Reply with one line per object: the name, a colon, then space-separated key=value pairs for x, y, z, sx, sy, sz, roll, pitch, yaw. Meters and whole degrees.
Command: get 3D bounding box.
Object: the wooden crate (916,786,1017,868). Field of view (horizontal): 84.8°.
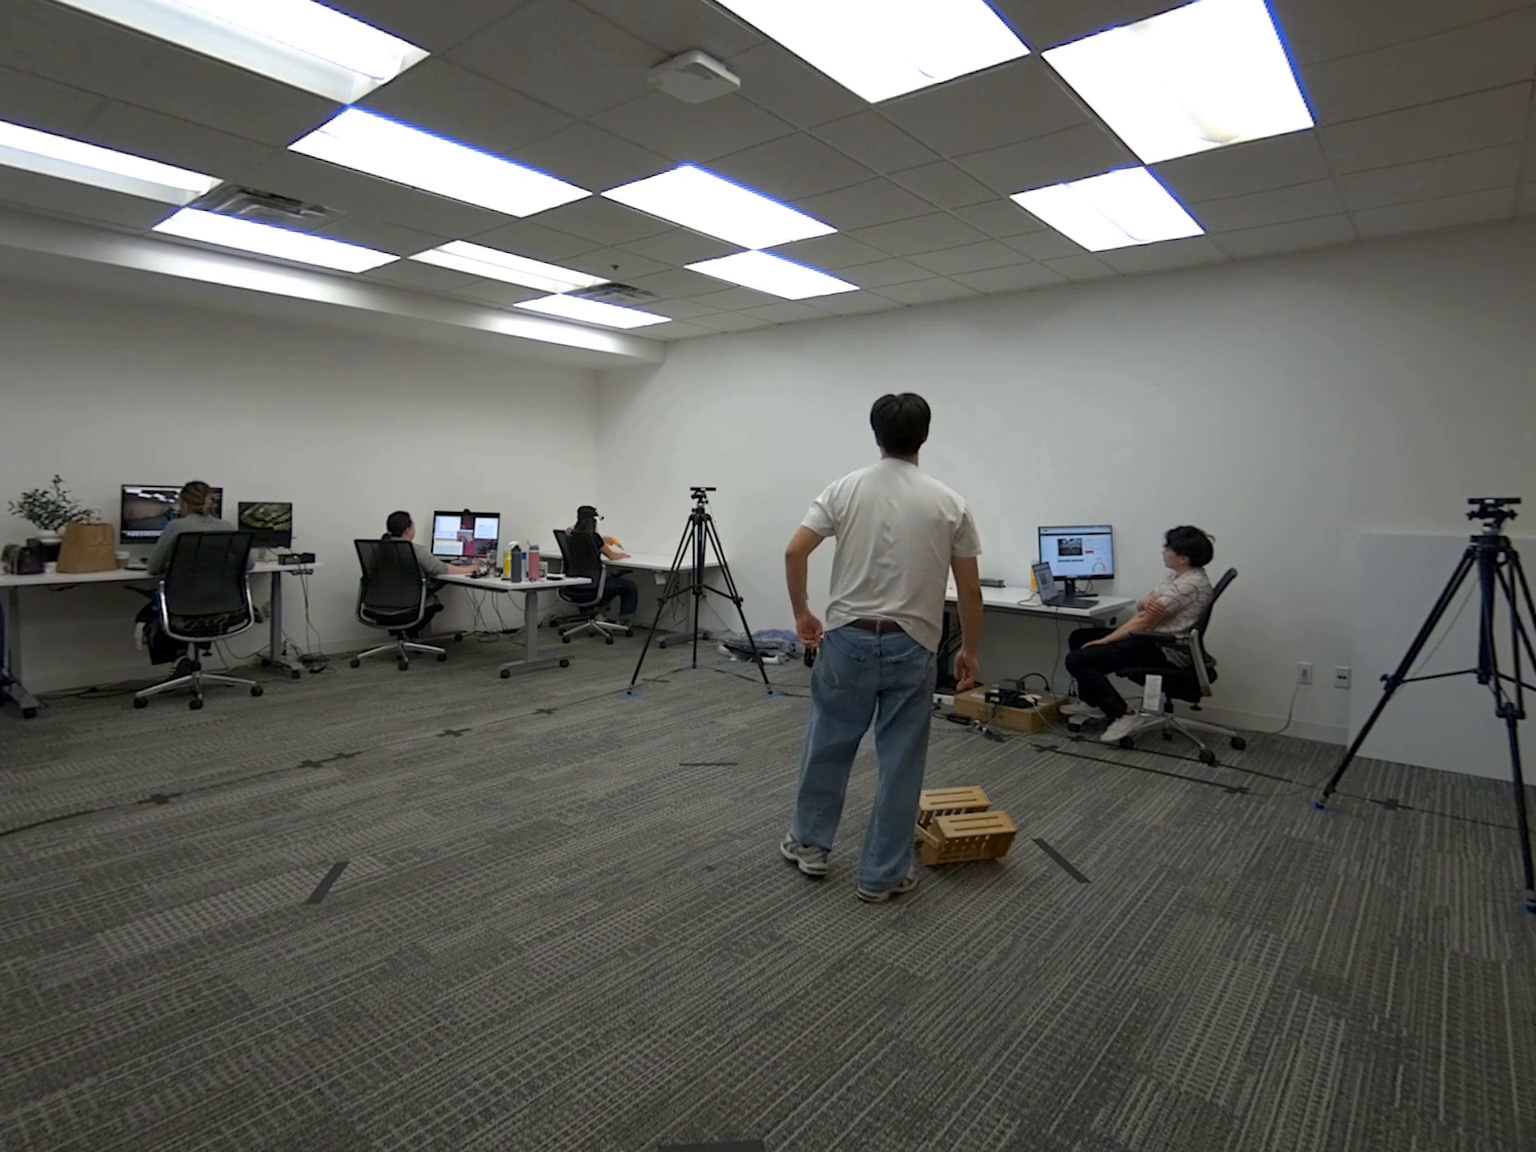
wooden crate: x=0.710 y=0.985 z=3.259 sx=0.319 sy=0.296 sz=0.284 roll=0 pitch=32 yaw=-17
